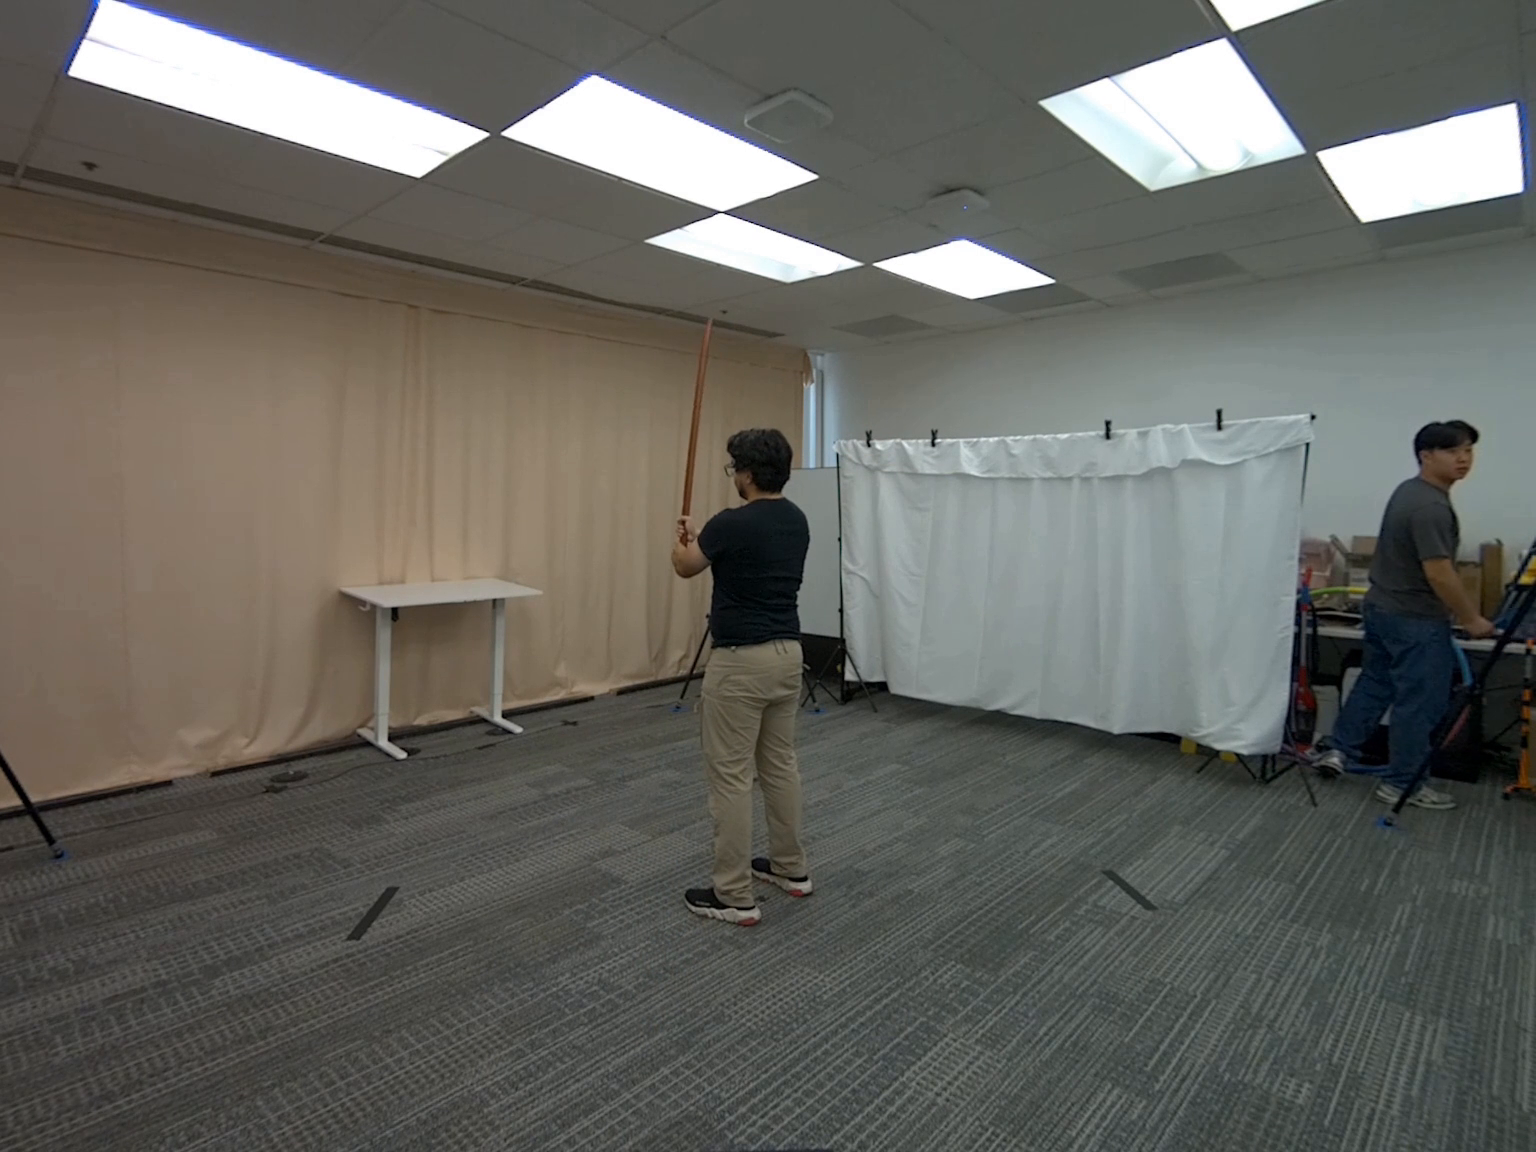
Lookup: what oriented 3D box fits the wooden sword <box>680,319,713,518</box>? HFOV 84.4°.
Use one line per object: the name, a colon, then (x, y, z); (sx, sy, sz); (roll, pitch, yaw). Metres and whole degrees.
wooden sword: (-0.282, -0.523, 3.346); (0.052, 1.027, 0.023); (4, -4, 17)
